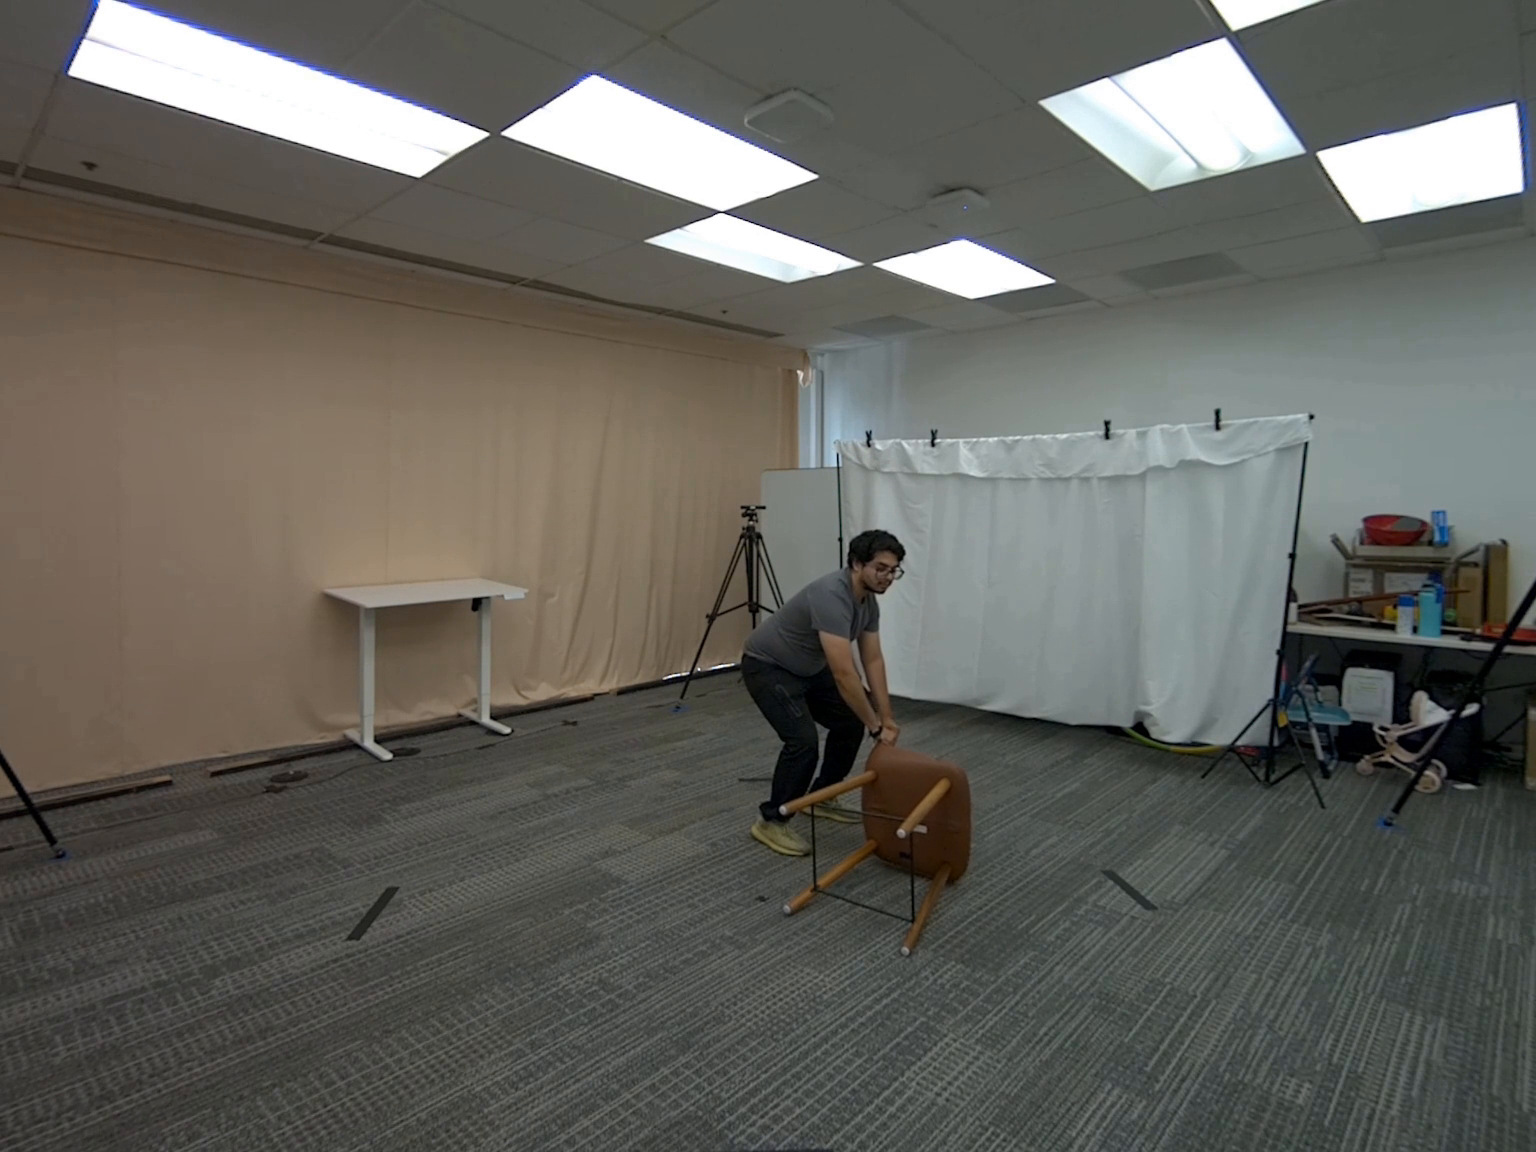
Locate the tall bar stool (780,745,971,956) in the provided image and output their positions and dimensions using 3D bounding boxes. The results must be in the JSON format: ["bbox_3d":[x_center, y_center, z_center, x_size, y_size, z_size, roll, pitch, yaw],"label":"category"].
[{"bbox_3d":[0.464,0.910,3.056,0.481,0.454,0.867,1,8,32],"label":"tall bar stool"}]
